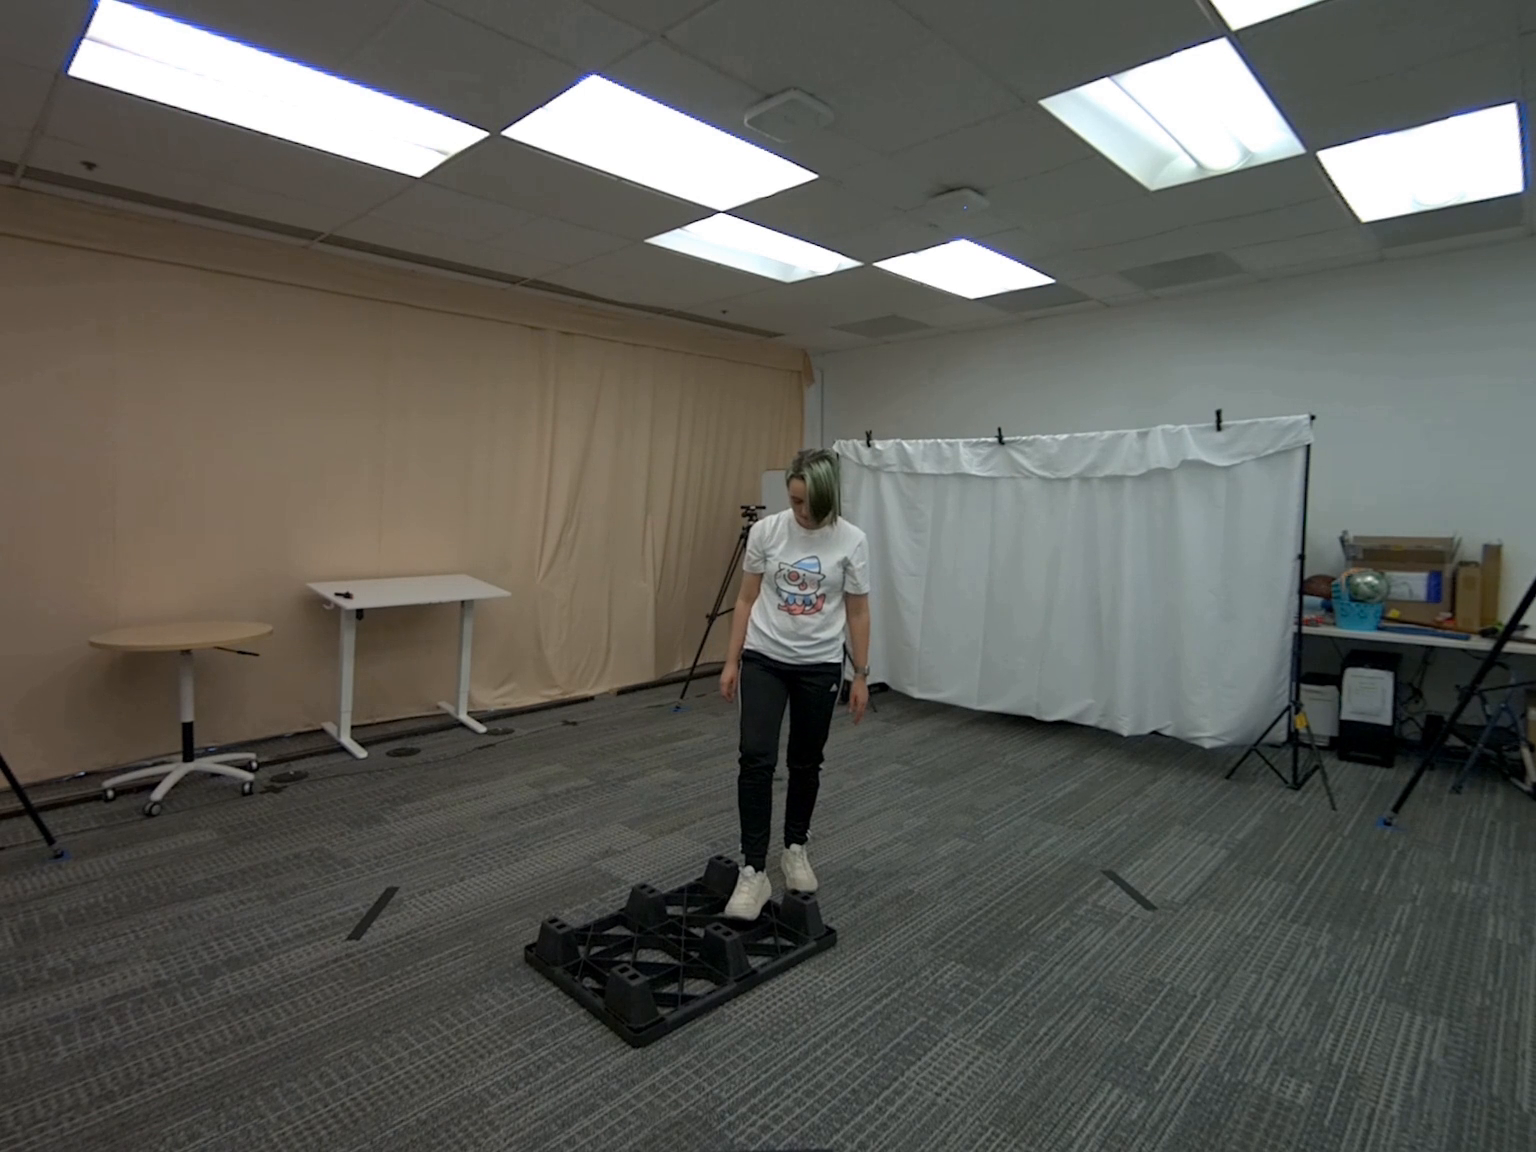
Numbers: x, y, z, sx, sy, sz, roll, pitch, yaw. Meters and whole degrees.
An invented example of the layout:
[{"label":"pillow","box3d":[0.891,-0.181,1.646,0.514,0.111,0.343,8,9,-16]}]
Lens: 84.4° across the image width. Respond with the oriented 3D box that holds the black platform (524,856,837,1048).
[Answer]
[{"label":"black platform","box3d":[-0.266,1.110,2.639,0.781,0.143,0.625,-4,7,-44]}]
